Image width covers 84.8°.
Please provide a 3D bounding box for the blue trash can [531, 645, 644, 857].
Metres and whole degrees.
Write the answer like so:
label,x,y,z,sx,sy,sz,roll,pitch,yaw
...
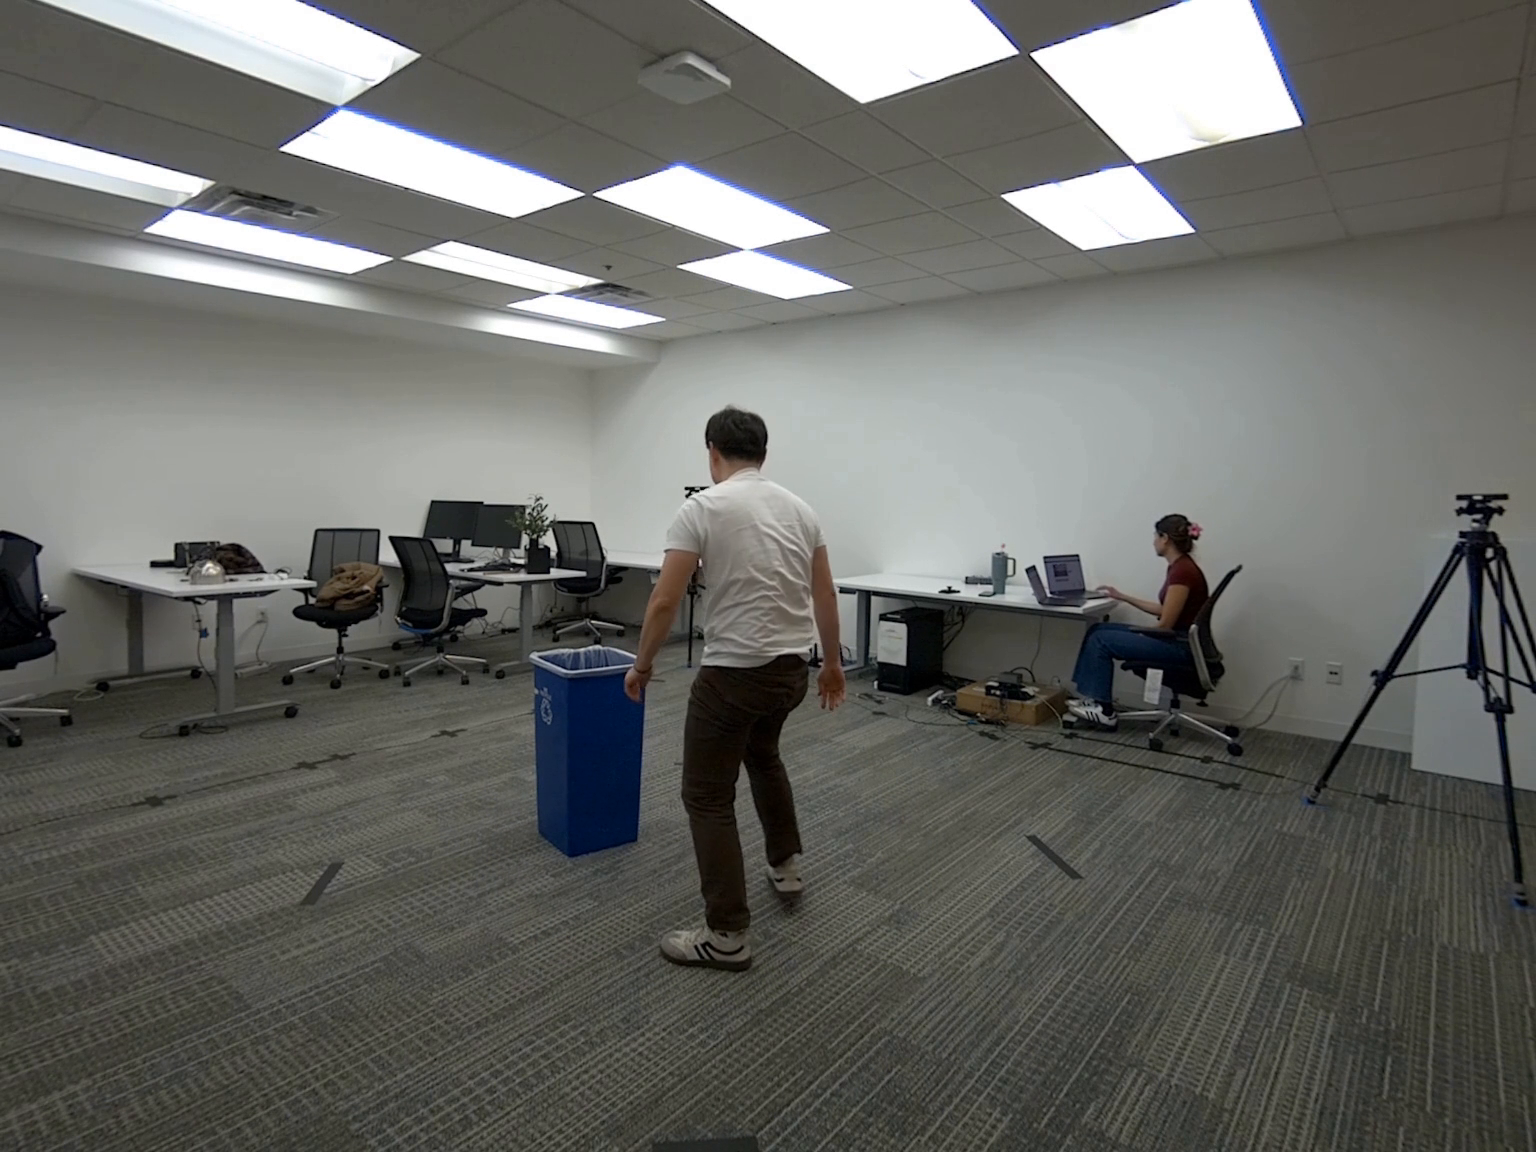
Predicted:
label,x,y,z,sx,sy,sz,roll,pitch,yaw
blue trash can,-0.726,0.676,3.357,0.363,0.711,0.391,-1,4,-38
